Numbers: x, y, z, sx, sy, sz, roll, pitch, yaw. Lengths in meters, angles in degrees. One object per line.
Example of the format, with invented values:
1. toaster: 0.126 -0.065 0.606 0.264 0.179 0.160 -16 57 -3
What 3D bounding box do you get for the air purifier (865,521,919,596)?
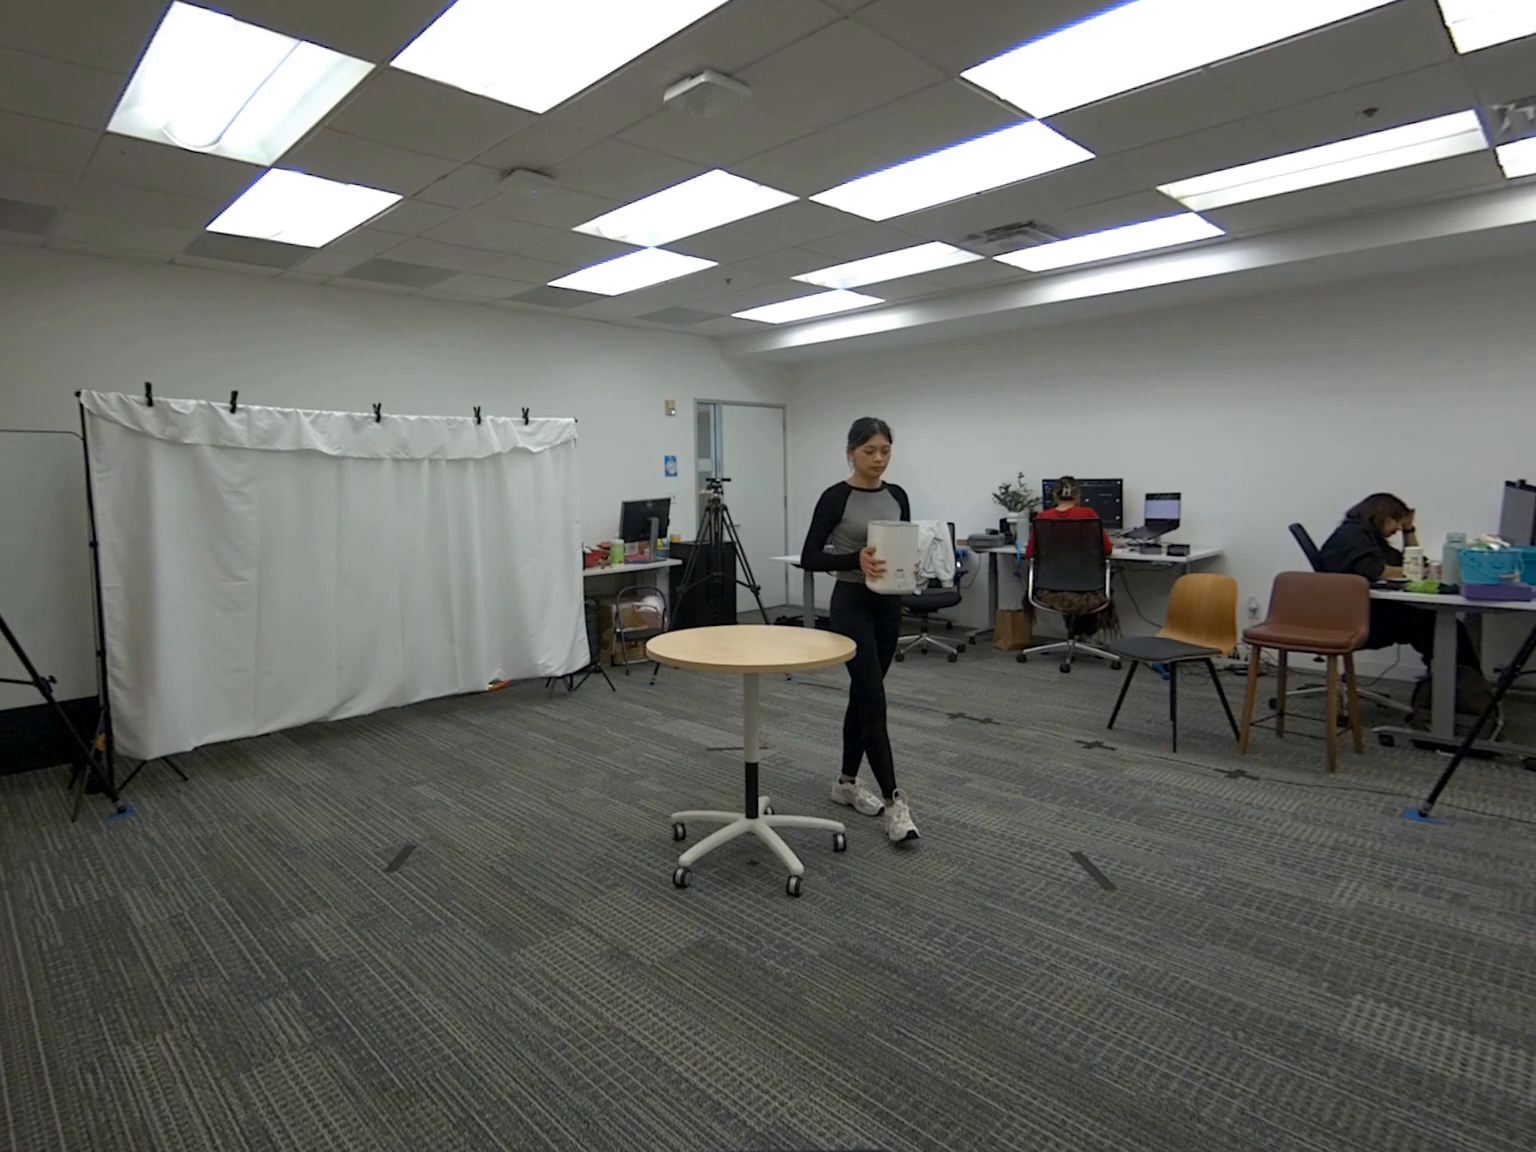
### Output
1. air purifier: 0.460 -0.068 3.266 0.170 0.264 0.174 -2 6 -9
